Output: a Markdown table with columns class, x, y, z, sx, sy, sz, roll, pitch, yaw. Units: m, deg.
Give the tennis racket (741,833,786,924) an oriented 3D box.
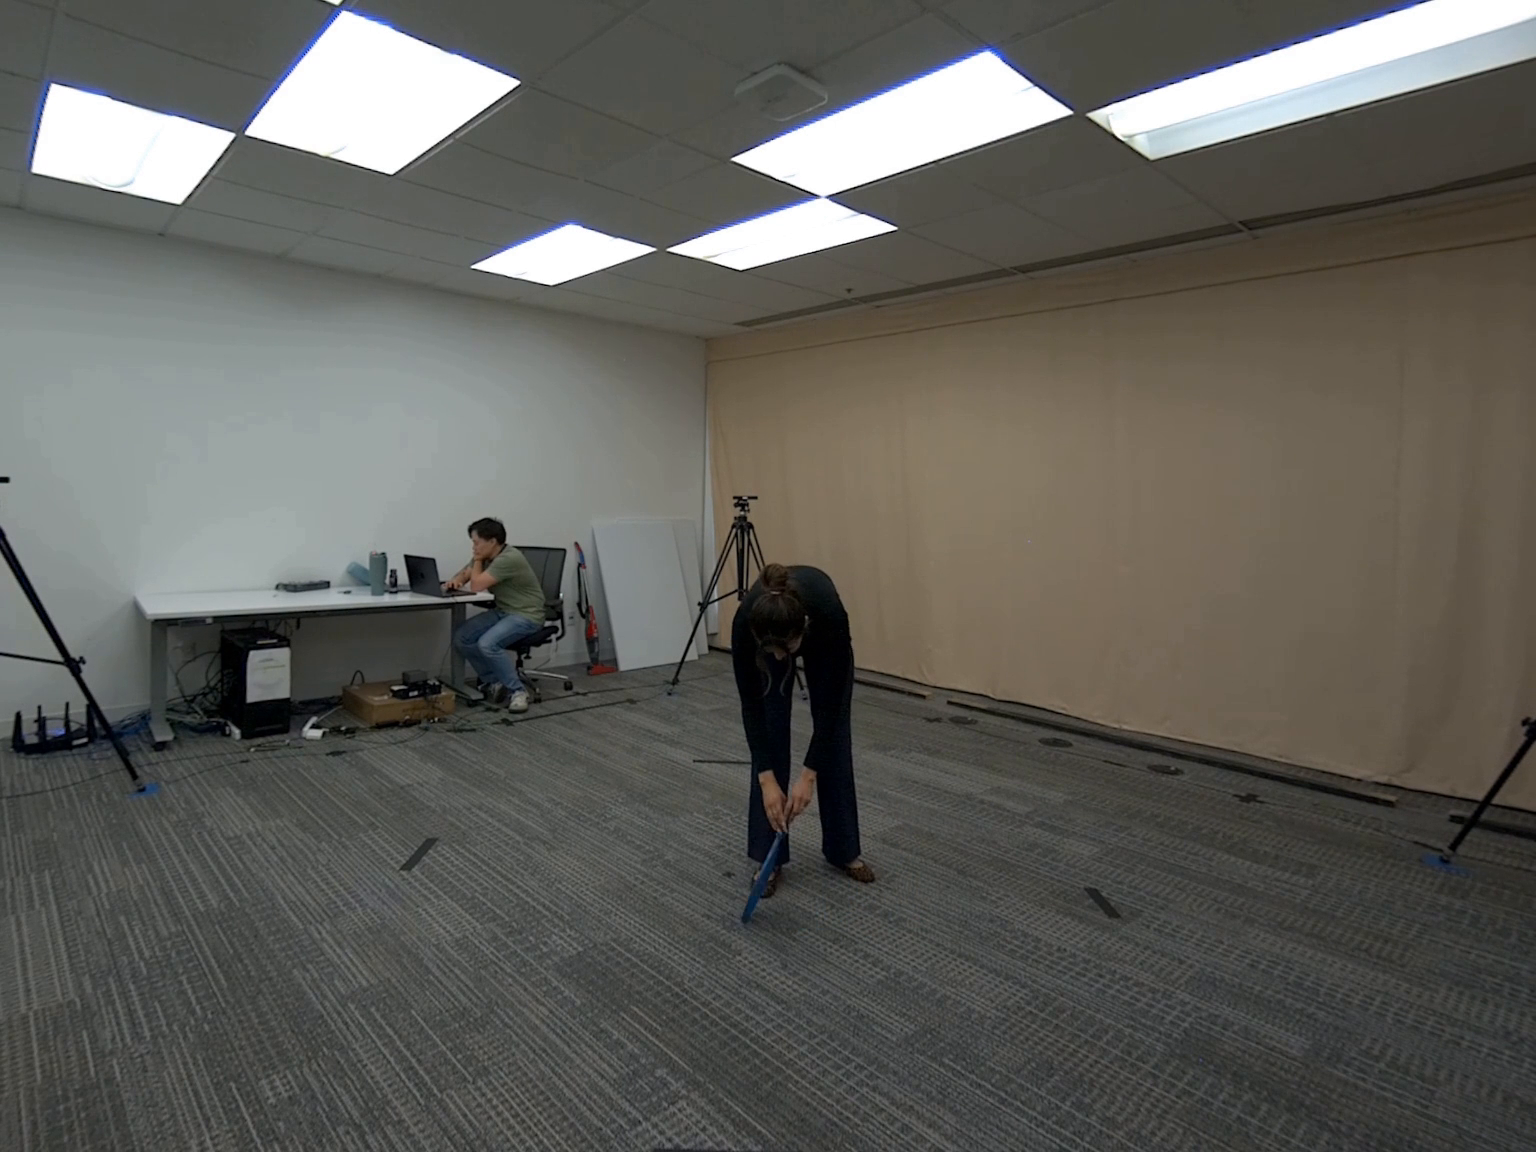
| class | x | y | z | sx | sy | sz | roll | pitch | yaw |
| --- | --- | --- | --- | --- | --- | --- | --- | --- | --- |
| tennis racket | -0.007 | 0.935 | 2.741 | 0.032 | 0.431 | 0.210 | 23 | 8 | 17 |
